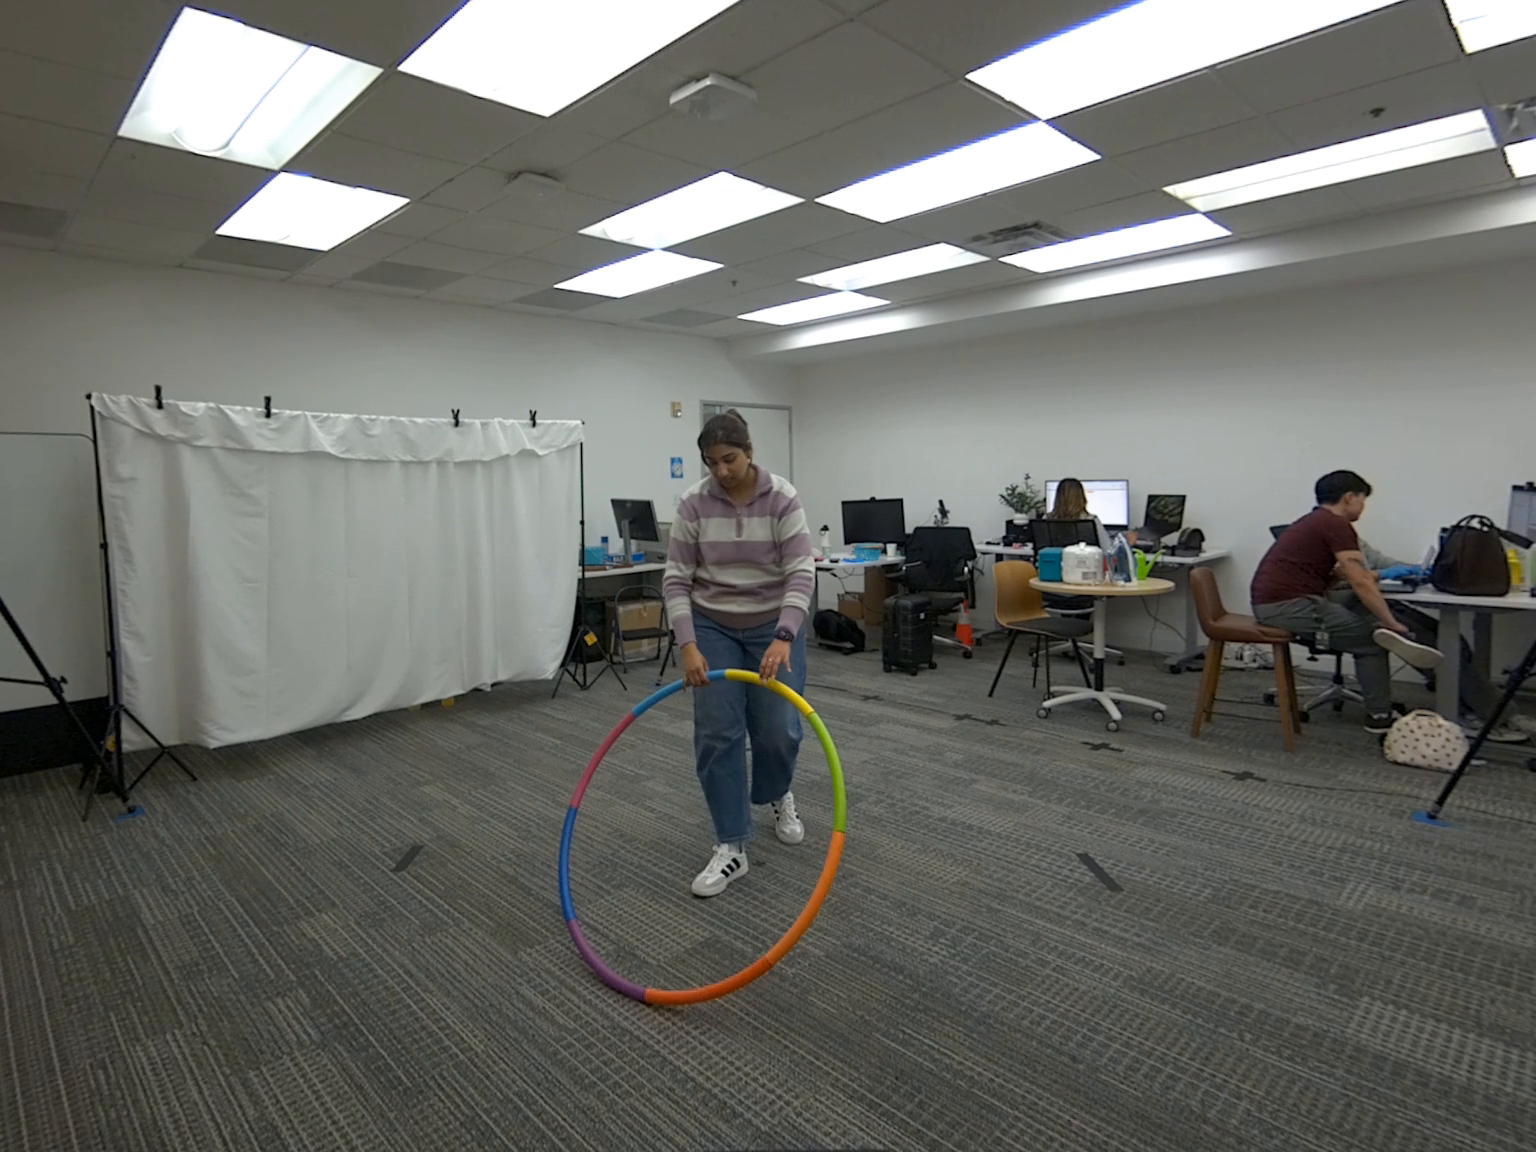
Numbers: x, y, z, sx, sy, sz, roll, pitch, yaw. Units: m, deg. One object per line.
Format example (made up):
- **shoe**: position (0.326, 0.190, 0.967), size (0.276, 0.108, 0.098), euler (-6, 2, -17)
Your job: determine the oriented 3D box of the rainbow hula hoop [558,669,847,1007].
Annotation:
- **rainbow hula hoop**: position (-0.223, 0.731, 2.556), size (1.007, 0.989, 0.034), euler (3, -33, 36)
